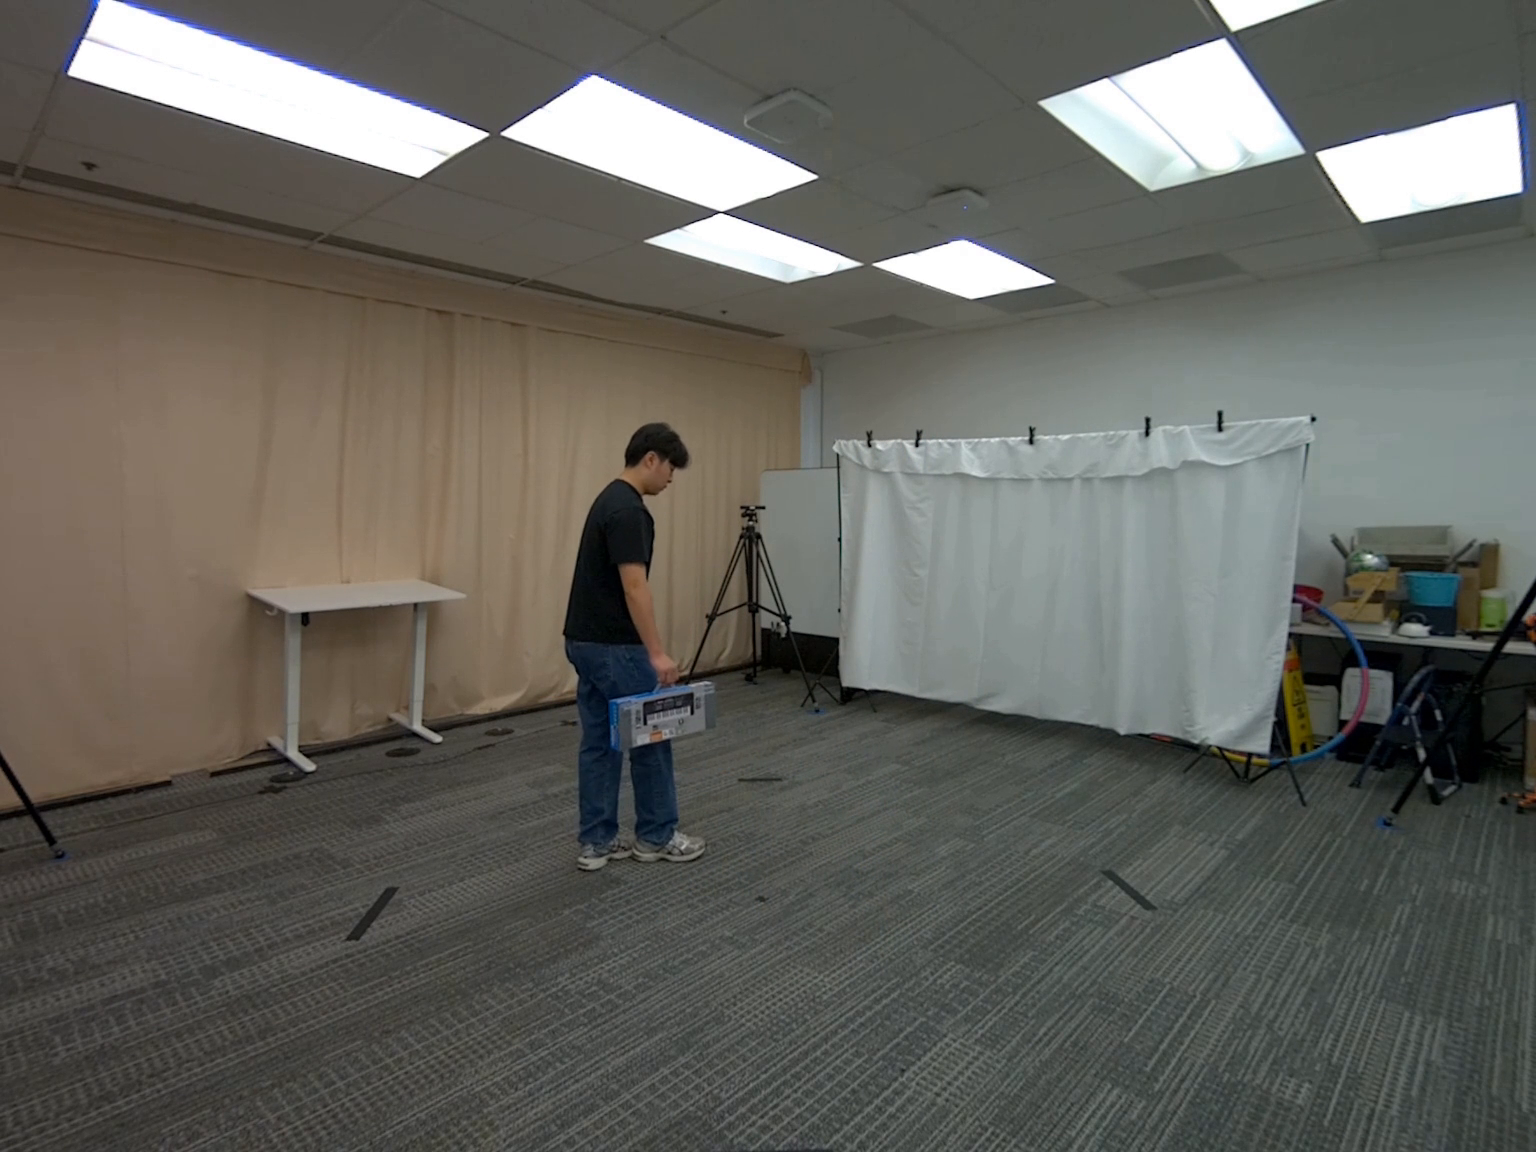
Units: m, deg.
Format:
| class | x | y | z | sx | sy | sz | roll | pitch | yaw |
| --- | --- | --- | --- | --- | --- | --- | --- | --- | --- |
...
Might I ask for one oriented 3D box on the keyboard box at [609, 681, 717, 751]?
| class | x | y | z | sx | sy | sz | roll | pitch | yaw |
| --- | --- | --- | --- | --- | --- | --- | --- | --- | --- |
| keyboard box | -0.370 | 0.510 | 3.088 | 0.424 | 0.175 | 0.061 | -6 | 6 | -40 |
